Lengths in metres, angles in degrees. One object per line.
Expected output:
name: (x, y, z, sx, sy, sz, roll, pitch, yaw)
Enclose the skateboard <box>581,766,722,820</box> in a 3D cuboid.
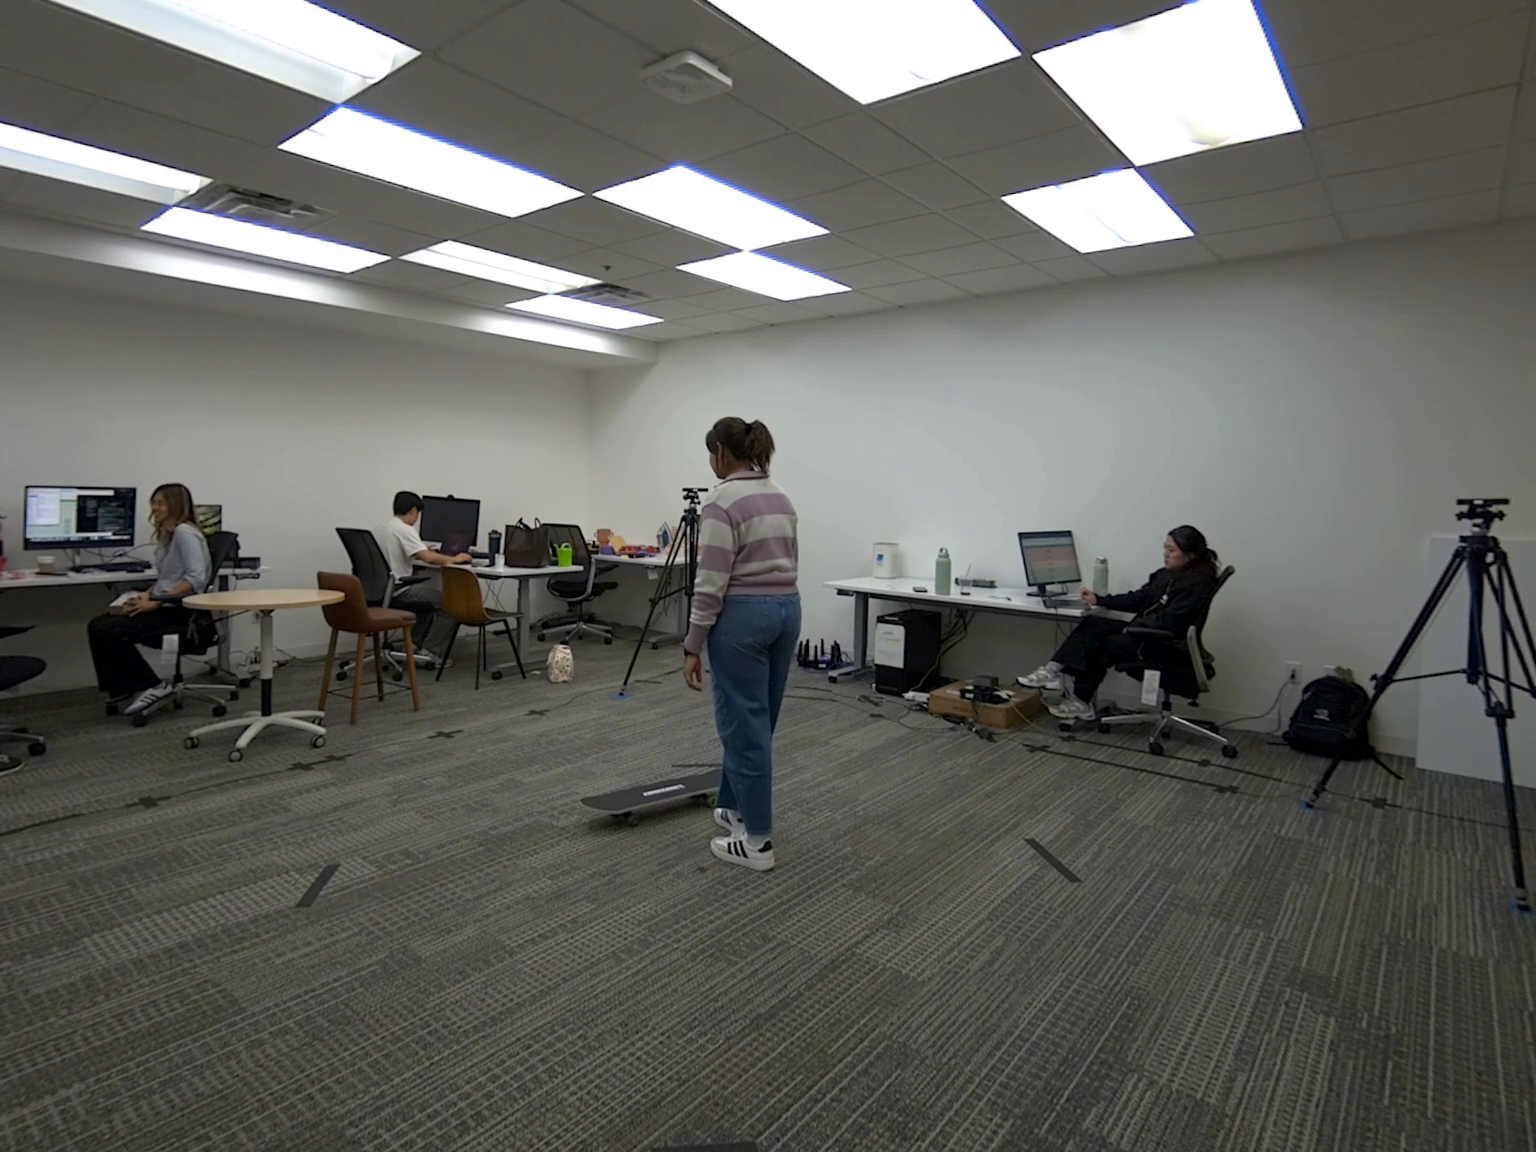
skateboard: (-0.463, 0.957, 3.676, 0.763, 0.110, 0.200, -3, 7, -35)
